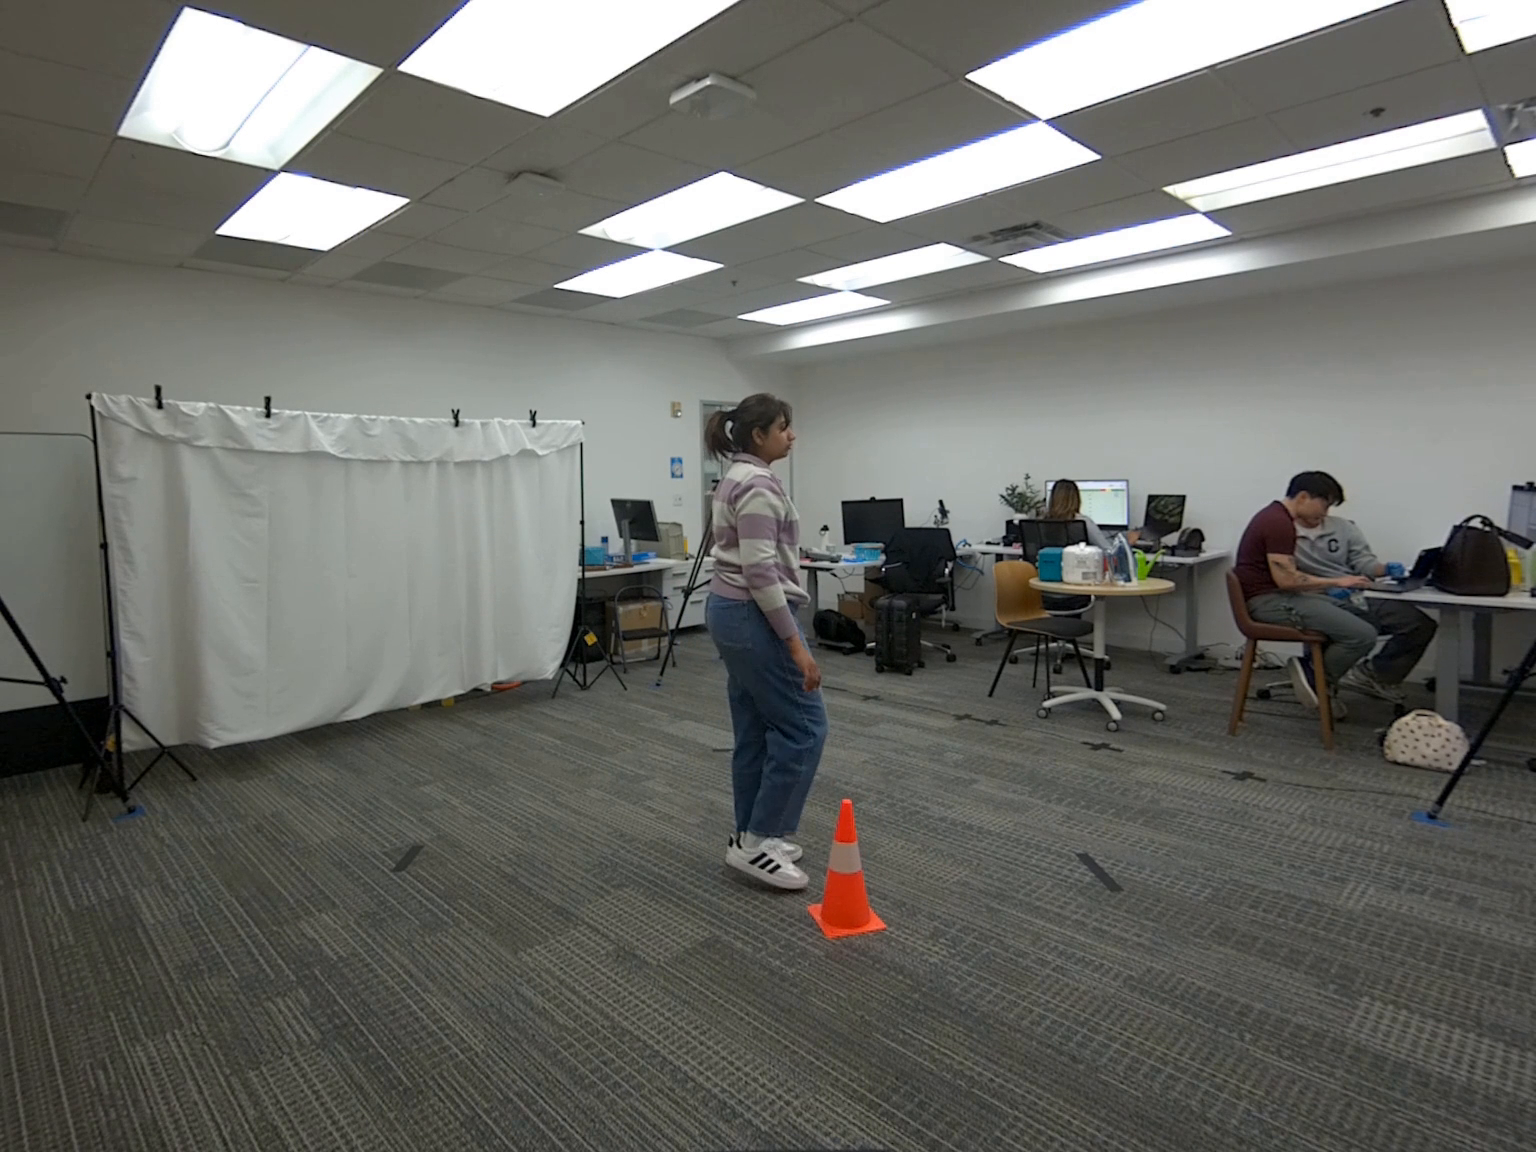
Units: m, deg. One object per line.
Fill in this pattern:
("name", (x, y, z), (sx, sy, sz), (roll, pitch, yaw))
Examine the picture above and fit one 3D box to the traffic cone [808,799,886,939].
("traffic cone", (0.250, 0.902, 2.702), (0.200, 0.382, 0.209), (-3, 5, -17))
